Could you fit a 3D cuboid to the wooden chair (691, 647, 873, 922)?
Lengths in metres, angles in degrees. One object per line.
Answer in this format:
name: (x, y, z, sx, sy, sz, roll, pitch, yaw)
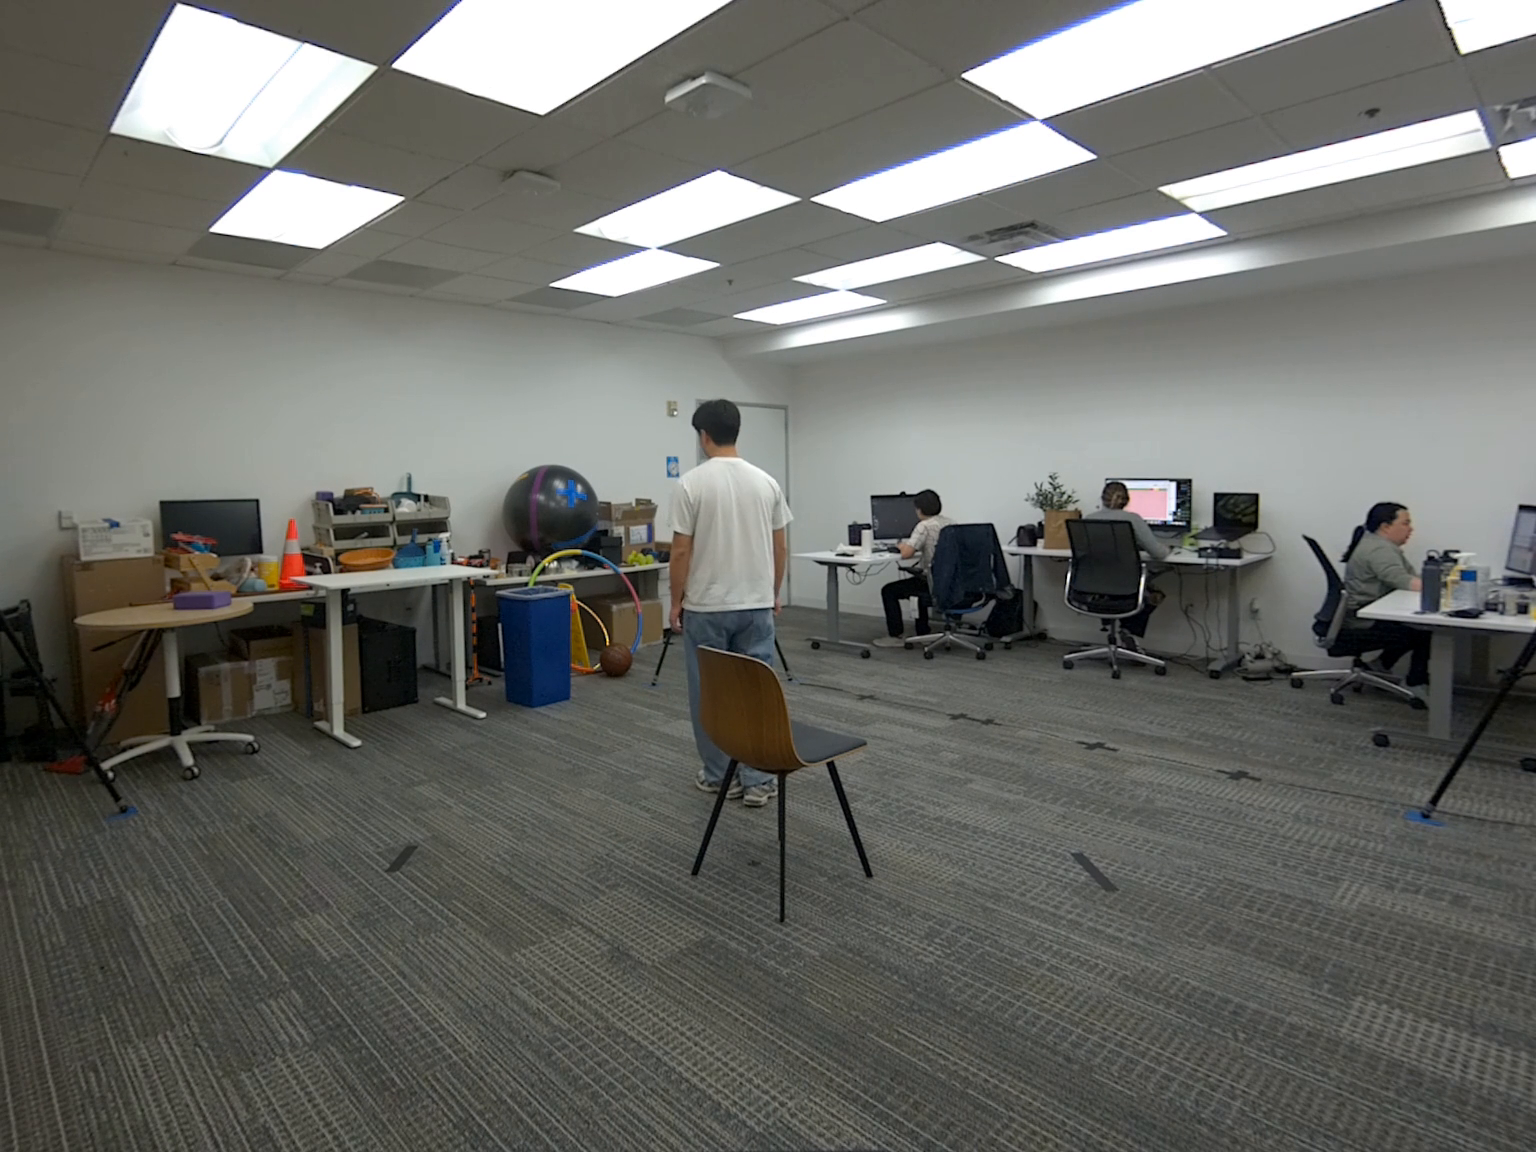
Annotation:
wooden chair: (0.049, 0.635, 2.973, 0.511, 0.871, 0.493, -10, 10, -42)
